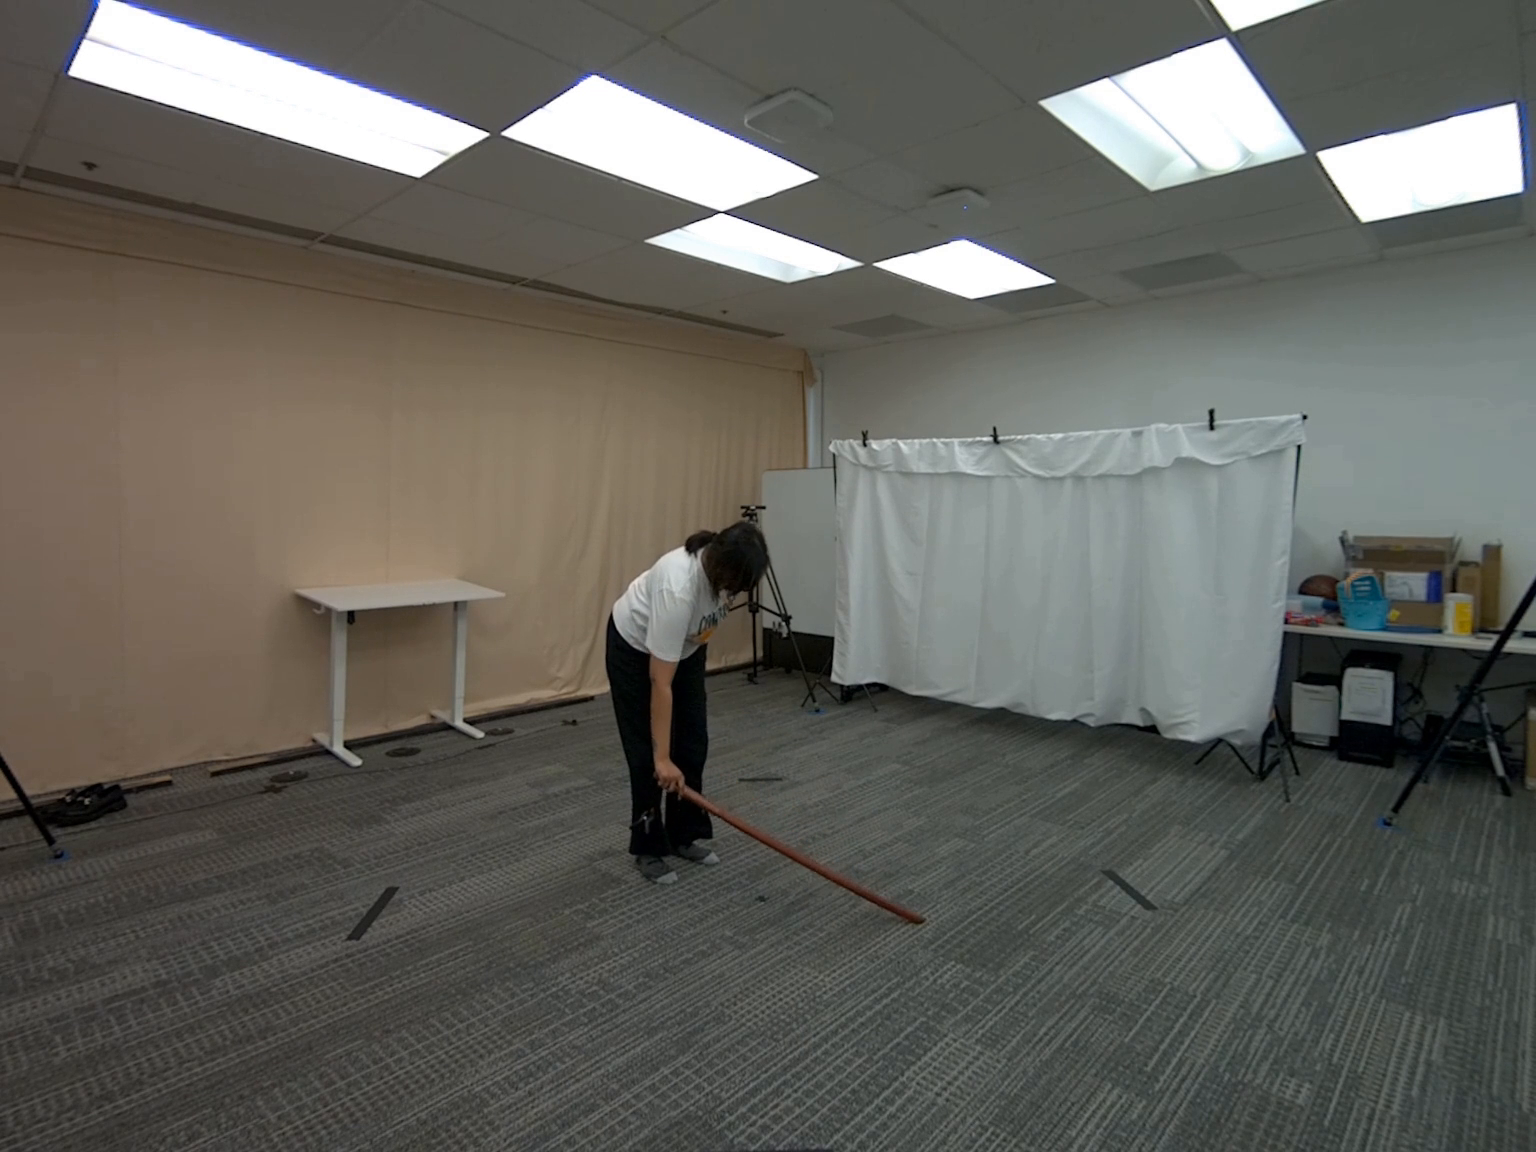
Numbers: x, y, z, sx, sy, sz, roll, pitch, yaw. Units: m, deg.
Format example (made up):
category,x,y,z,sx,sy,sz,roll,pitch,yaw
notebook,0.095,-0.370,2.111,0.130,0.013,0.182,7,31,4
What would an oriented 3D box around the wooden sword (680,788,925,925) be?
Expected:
category,x,y,z,sx,sy,sz,roll,pitch,yaw
wooden sword,0.070,0.930,2.832,1.028,0.024,0.051,27,1,2
